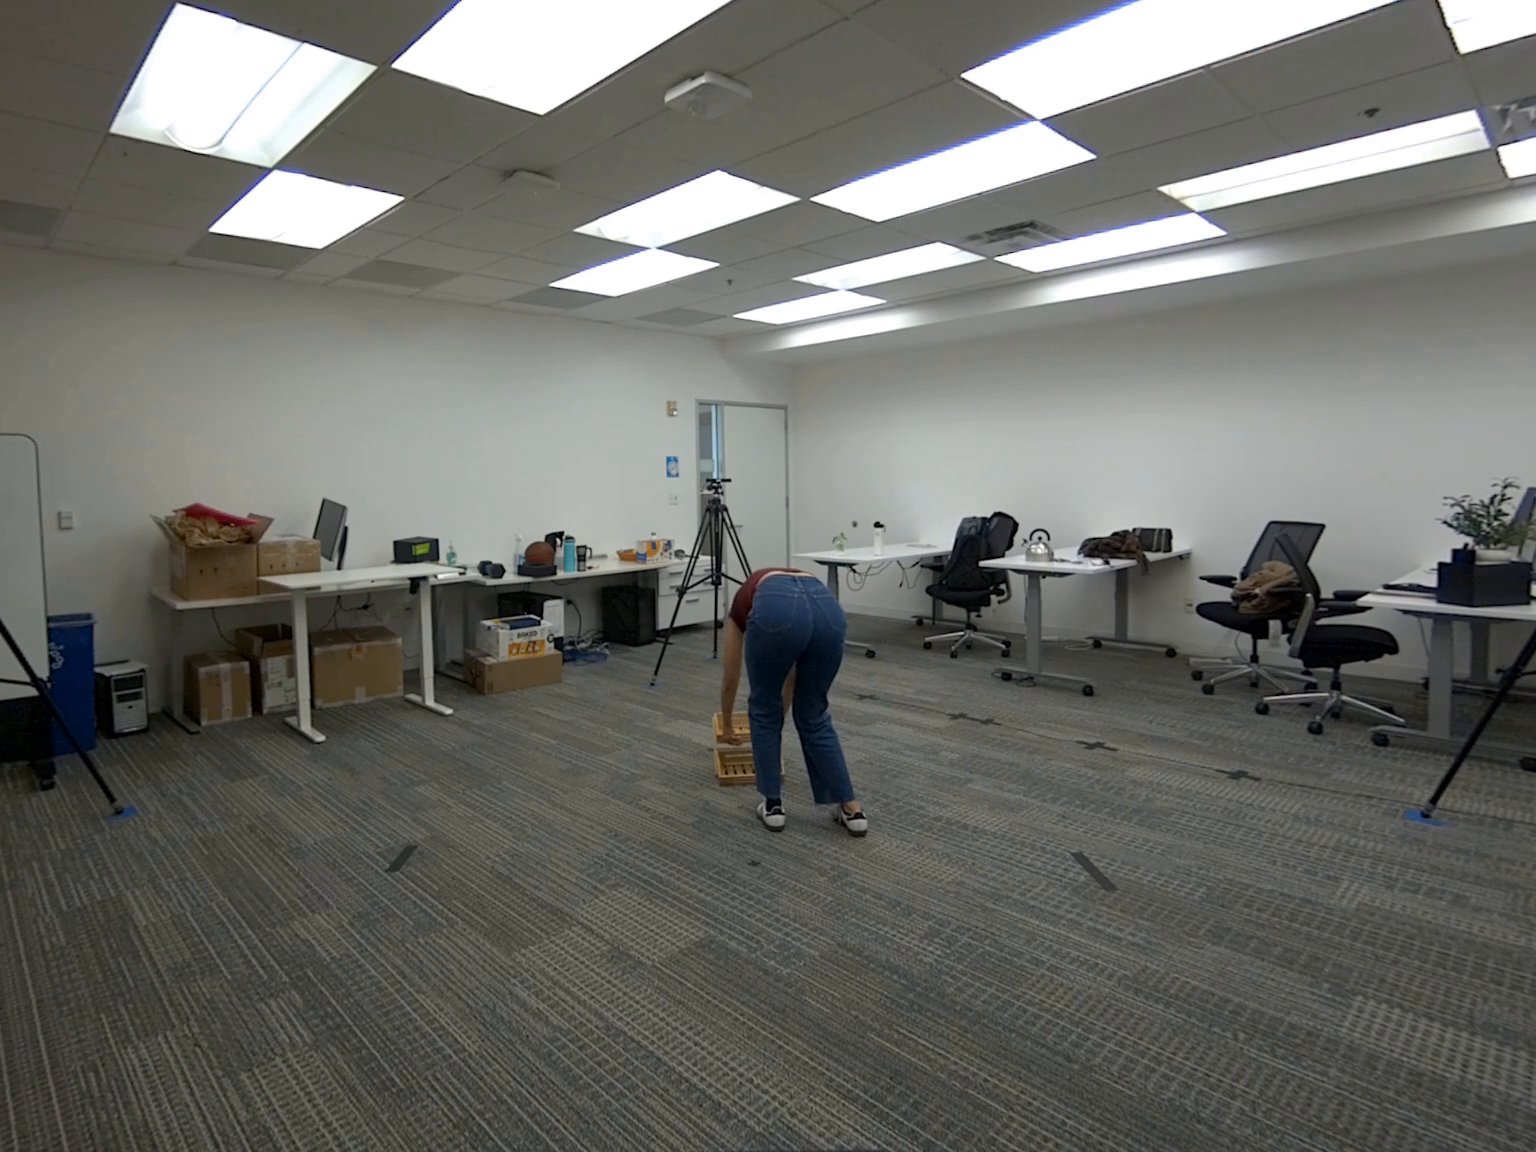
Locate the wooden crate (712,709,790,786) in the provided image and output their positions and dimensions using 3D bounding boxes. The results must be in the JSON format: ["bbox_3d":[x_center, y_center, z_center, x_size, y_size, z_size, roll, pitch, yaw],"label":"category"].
[{"bbox_3d":[-0.082,0.806,4.042,0.323,0.272,0.305,-1,4,-6],"label":"wooden crate"}]
